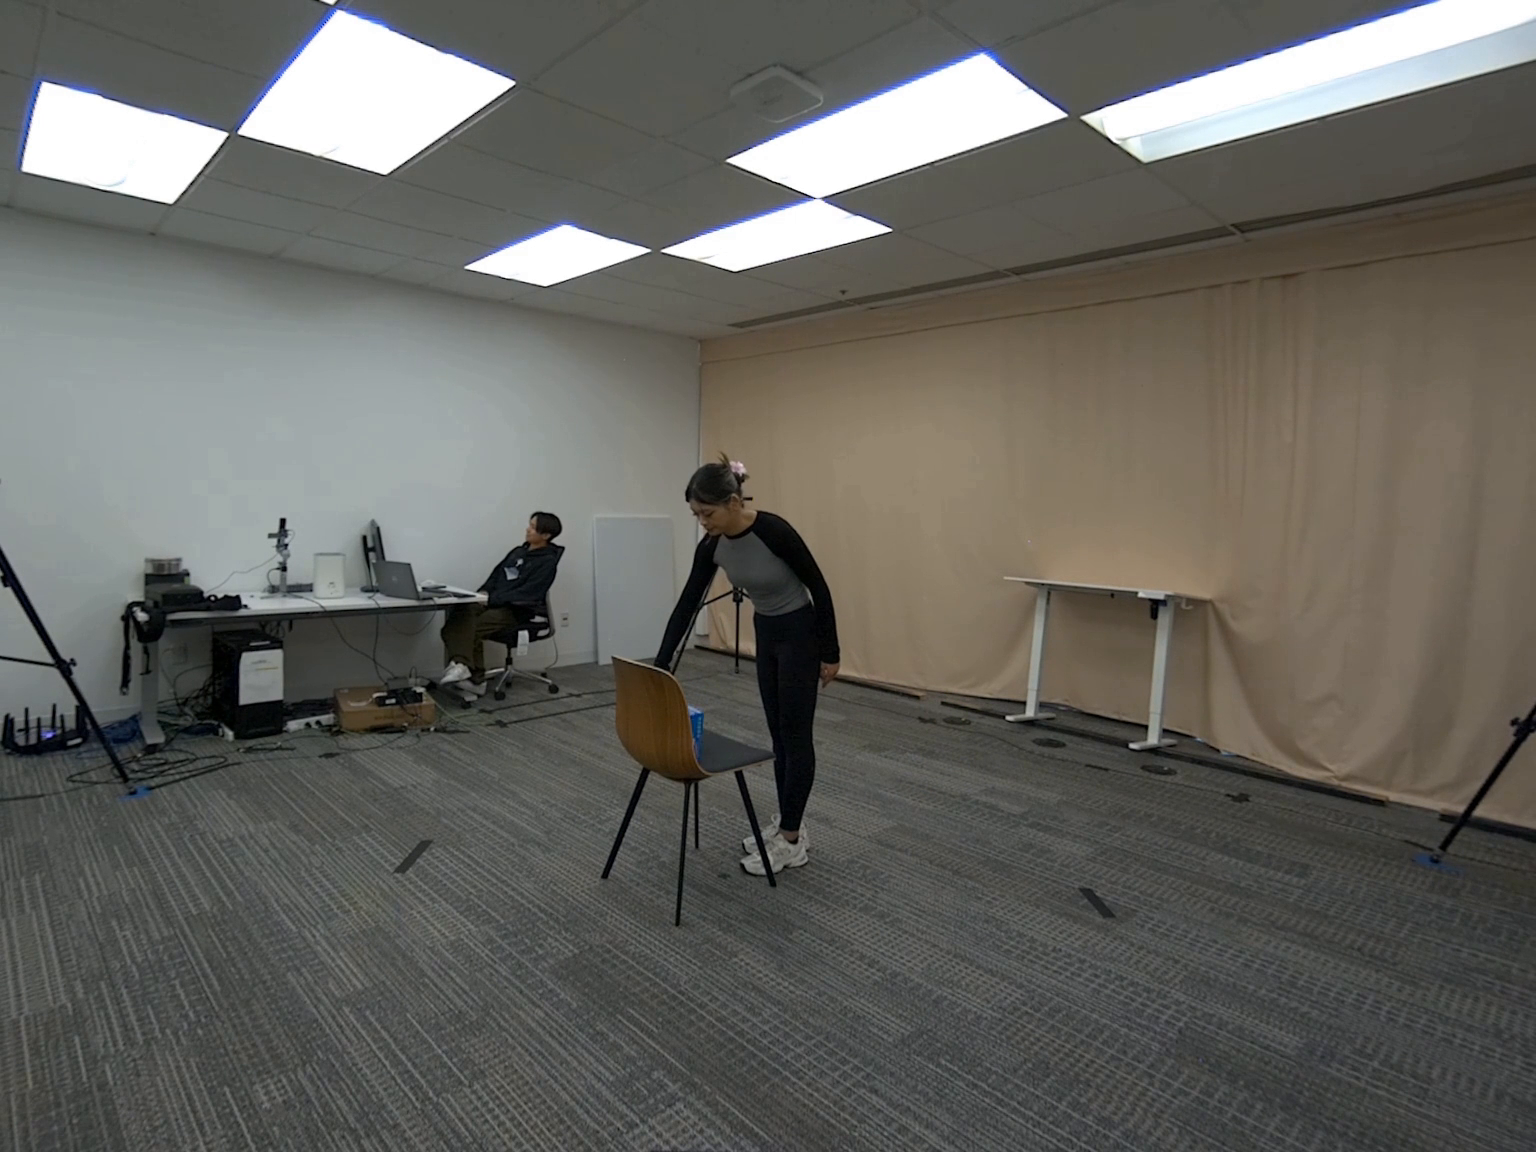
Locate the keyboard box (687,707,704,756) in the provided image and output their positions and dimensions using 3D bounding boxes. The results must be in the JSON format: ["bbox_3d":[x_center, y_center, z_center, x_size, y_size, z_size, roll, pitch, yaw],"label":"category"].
[{"bbox_3d":[-0.393,0.529,3.059,0.058,0.175,0.449,-3,11,-38],"label":"keyboard box"}]
